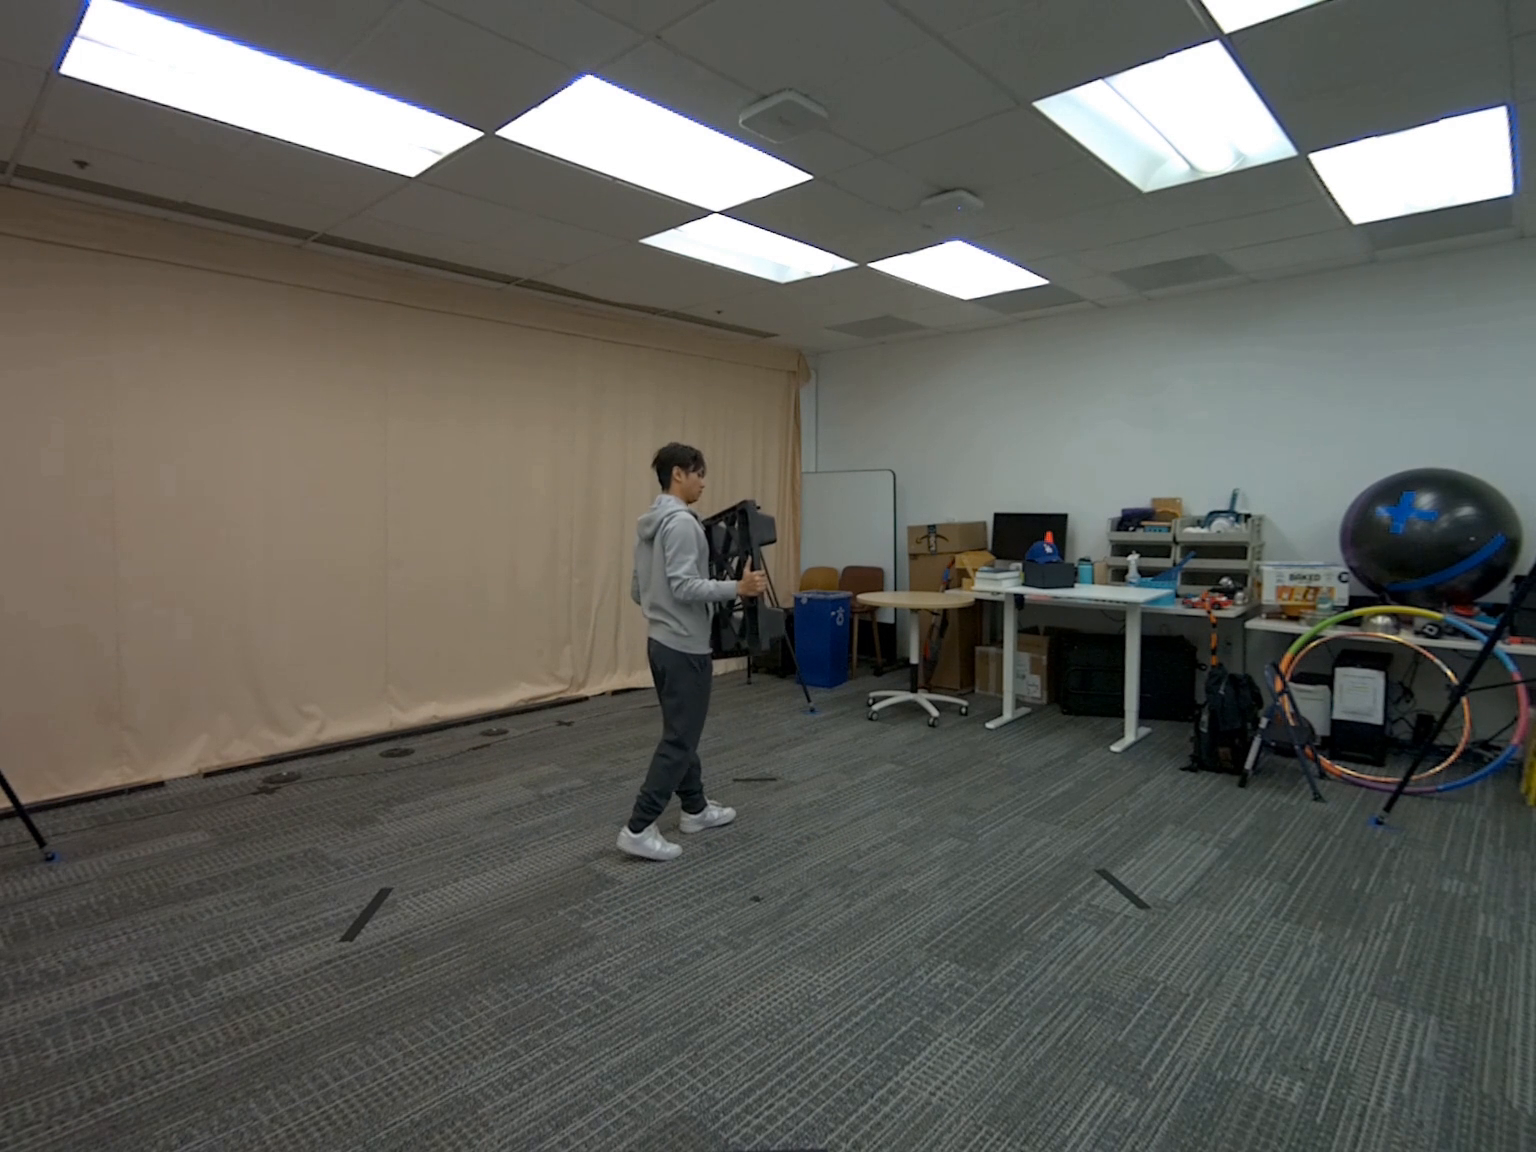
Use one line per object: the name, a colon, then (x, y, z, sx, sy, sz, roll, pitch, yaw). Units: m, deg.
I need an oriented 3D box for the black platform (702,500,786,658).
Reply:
black platform: (-0.174, 0.054, 3.566, 0.140, 0.608, 0.821, -1, -8, -28)
